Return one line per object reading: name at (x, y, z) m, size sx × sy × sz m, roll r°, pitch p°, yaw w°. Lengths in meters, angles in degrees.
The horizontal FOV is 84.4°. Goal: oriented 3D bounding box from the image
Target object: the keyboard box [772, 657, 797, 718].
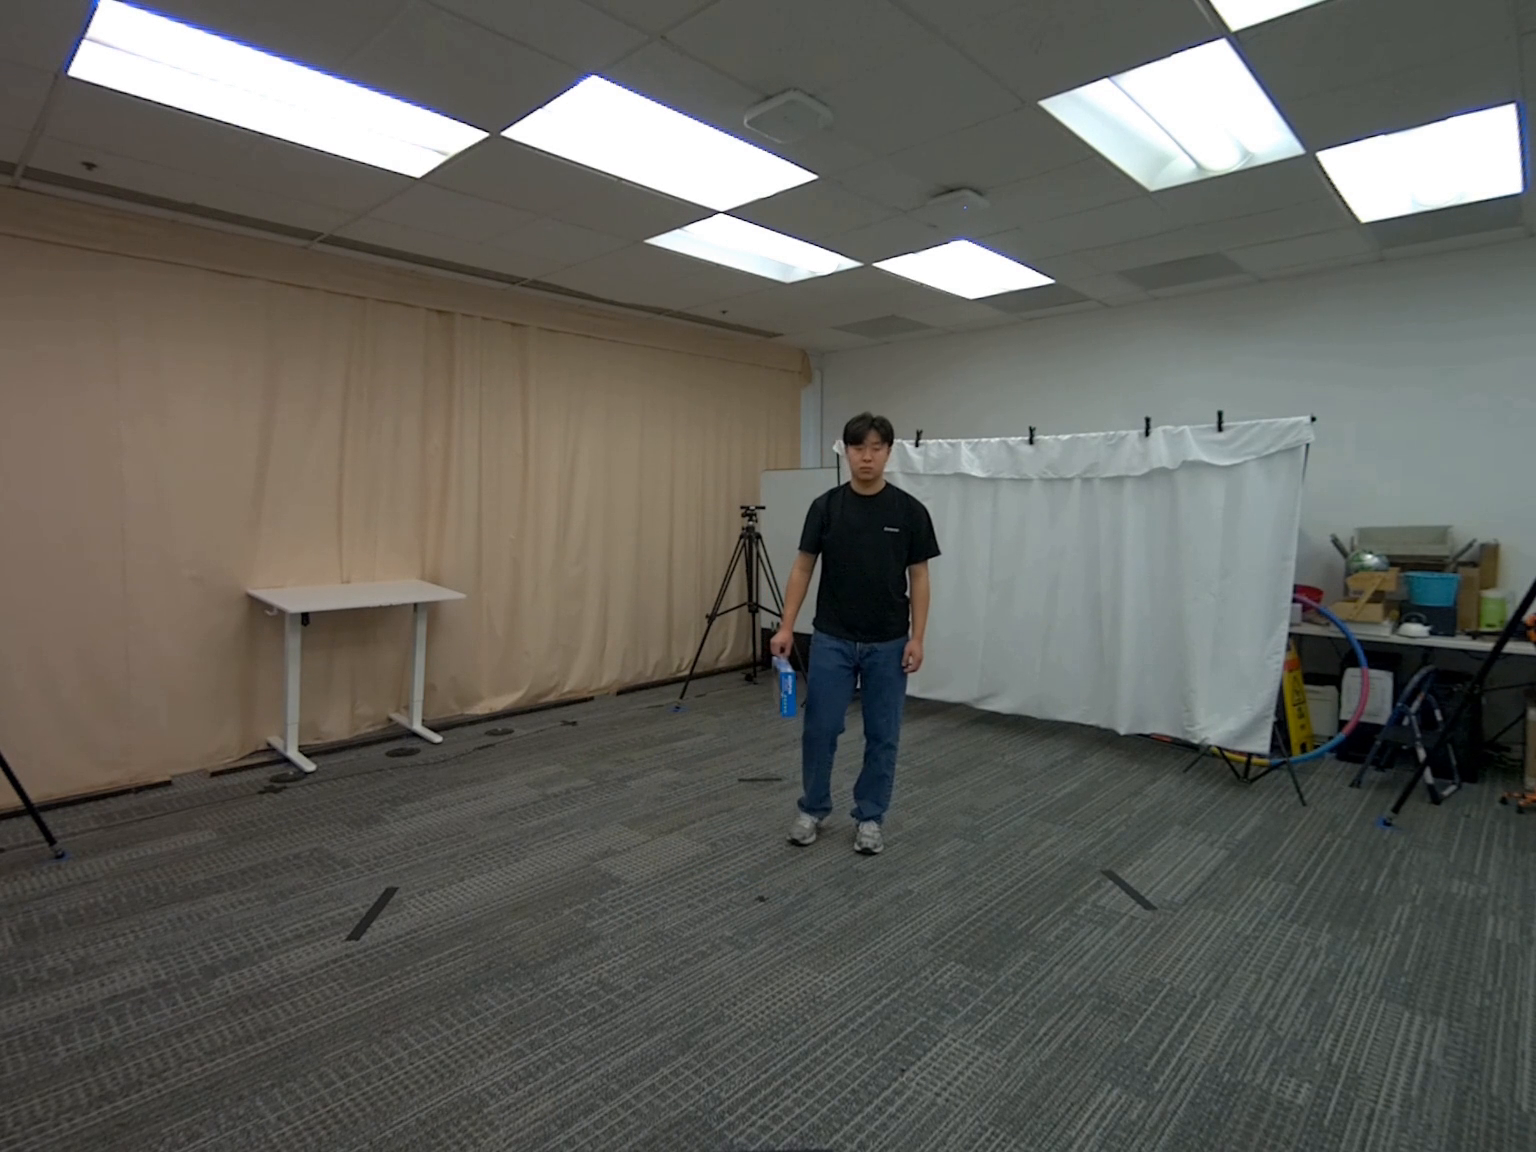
keyboard box at (0.061, 0.444, 3.463) m, size 0.059 × 0.176 × 0.438 m, roll -1°, pitch 3°, yaw -4°
